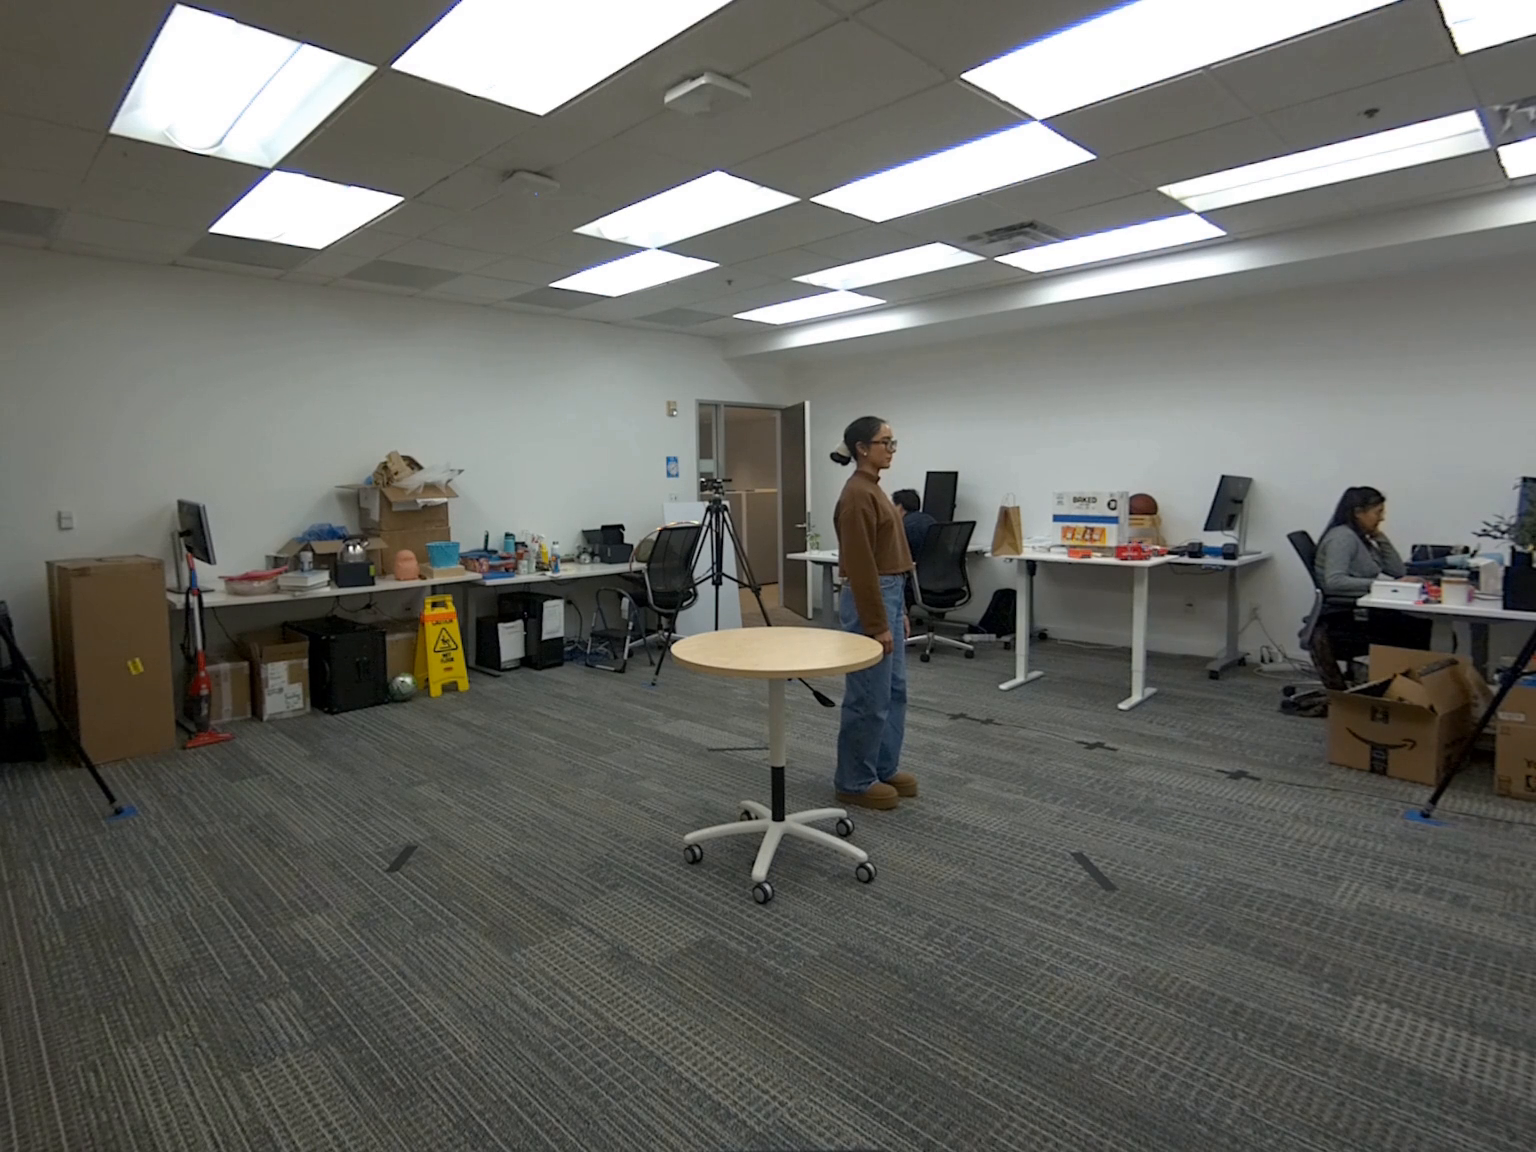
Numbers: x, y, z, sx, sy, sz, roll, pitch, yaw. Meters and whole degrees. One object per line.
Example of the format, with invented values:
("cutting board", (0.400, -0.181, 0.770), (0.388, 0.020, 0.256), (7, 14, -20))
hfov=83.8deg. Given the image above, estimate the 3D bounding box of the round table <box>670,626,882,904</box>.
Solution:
("round table", (0.035, 0.649, 3.134), (0.763, 0.791, 0.768), (-1, 5, -2))
